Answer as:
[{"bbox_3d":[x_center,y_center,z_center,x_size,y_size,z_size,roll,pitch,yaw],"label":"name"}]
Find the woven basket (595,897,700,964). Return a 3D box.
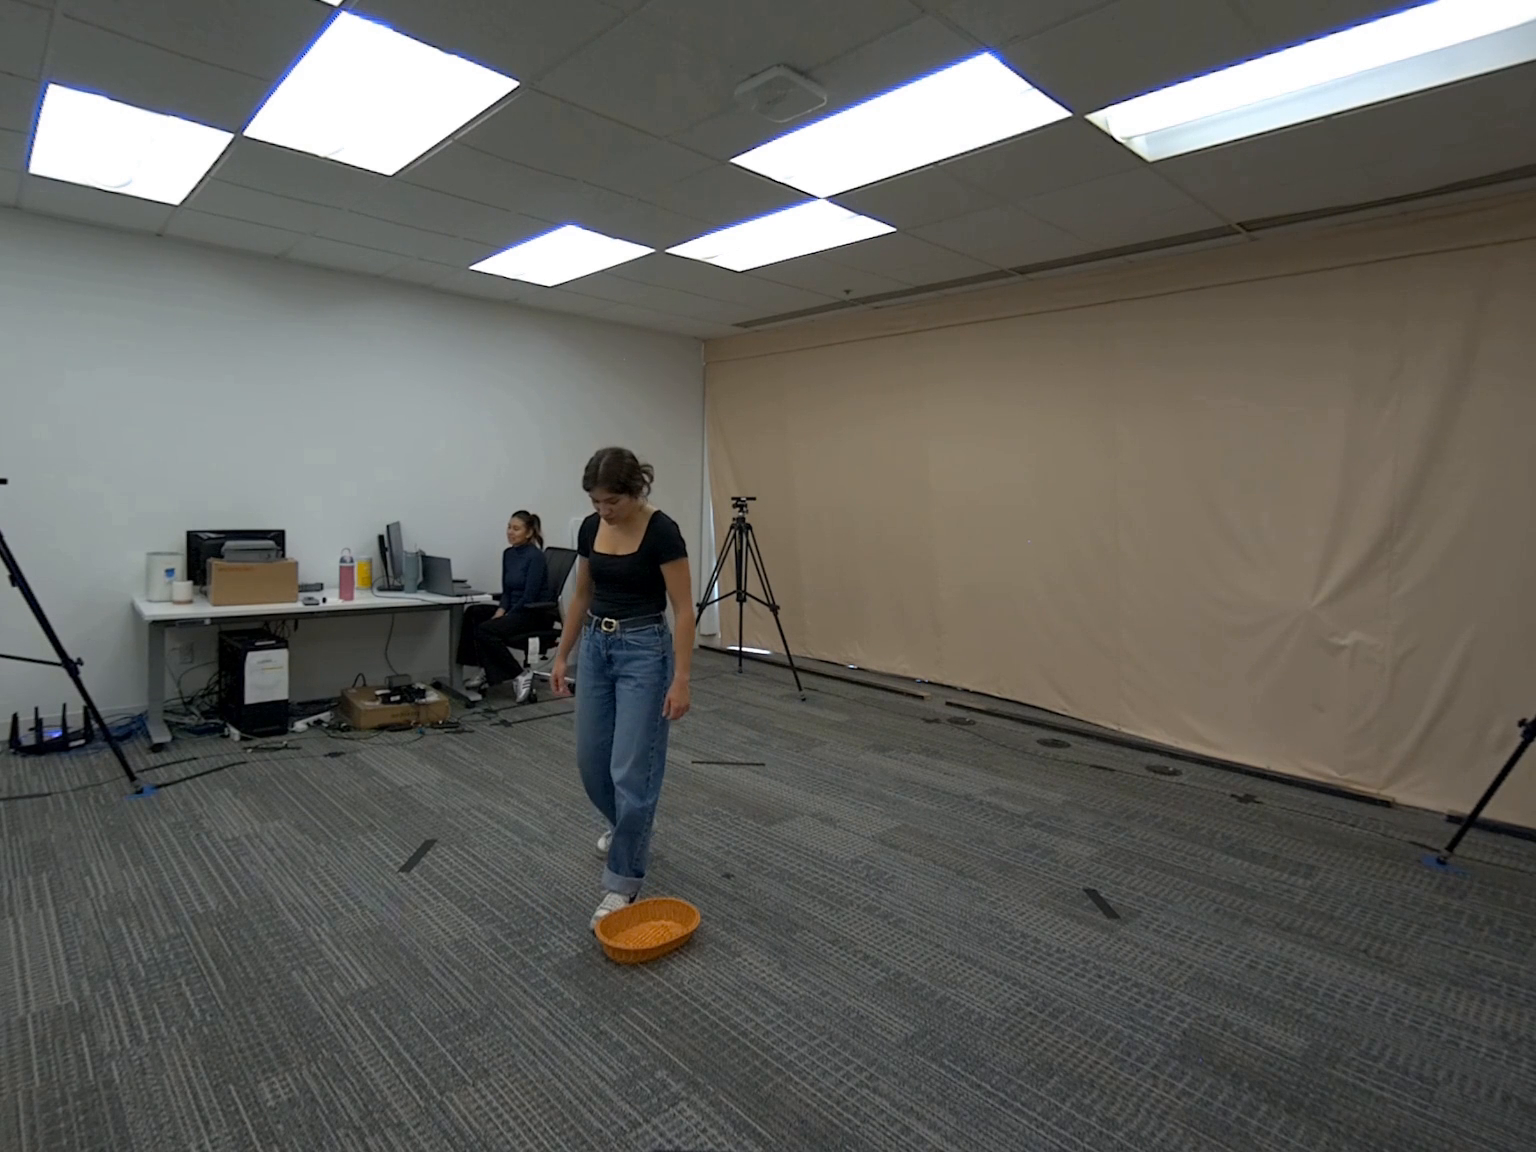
[{"bbox_3d":[-0.379,1.105,2.617,0.342,0.073,0.259,-2,6,-39],"label":"woven basket"}]
